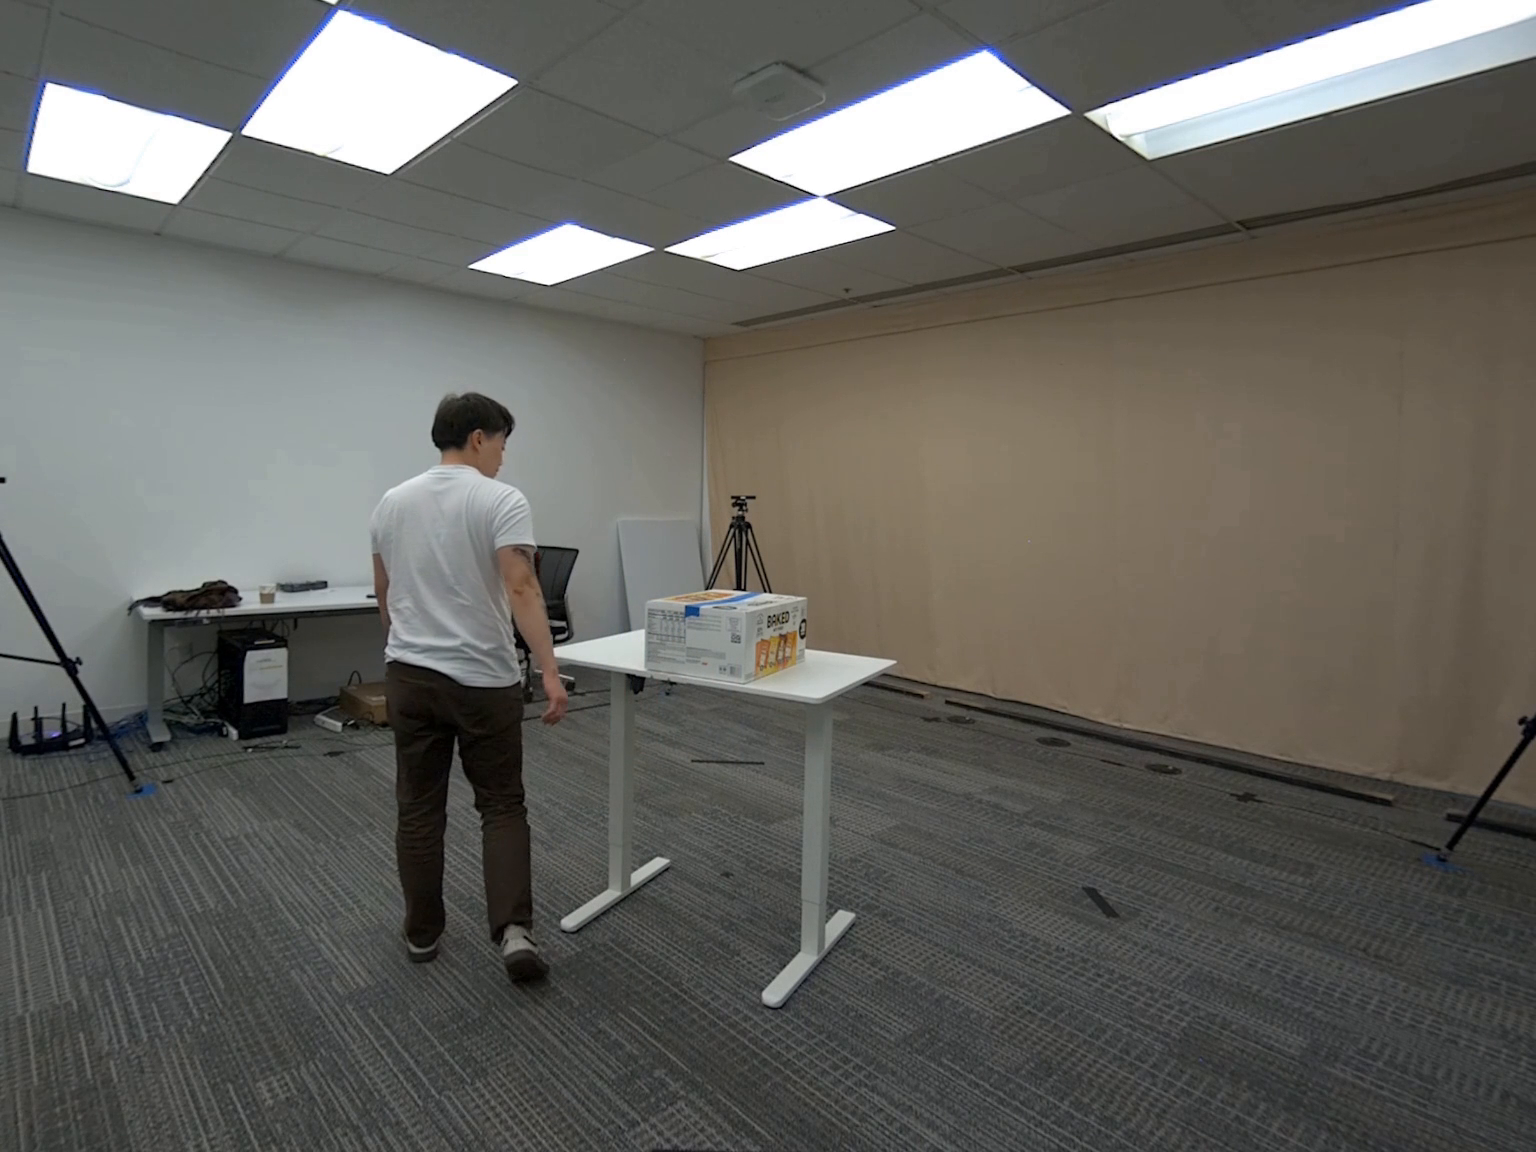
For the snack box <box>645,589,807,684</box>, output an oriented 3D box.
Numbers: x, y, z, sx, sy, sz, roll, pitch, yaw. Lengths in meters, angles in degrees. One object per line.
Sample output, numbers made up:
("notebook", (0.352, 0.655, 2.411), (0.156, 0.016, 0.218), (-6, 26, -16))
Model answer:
("snack box", (-0.125, 0.174, 2.551), (0.347, 0.205, 0.398), (4, 6, 28))
